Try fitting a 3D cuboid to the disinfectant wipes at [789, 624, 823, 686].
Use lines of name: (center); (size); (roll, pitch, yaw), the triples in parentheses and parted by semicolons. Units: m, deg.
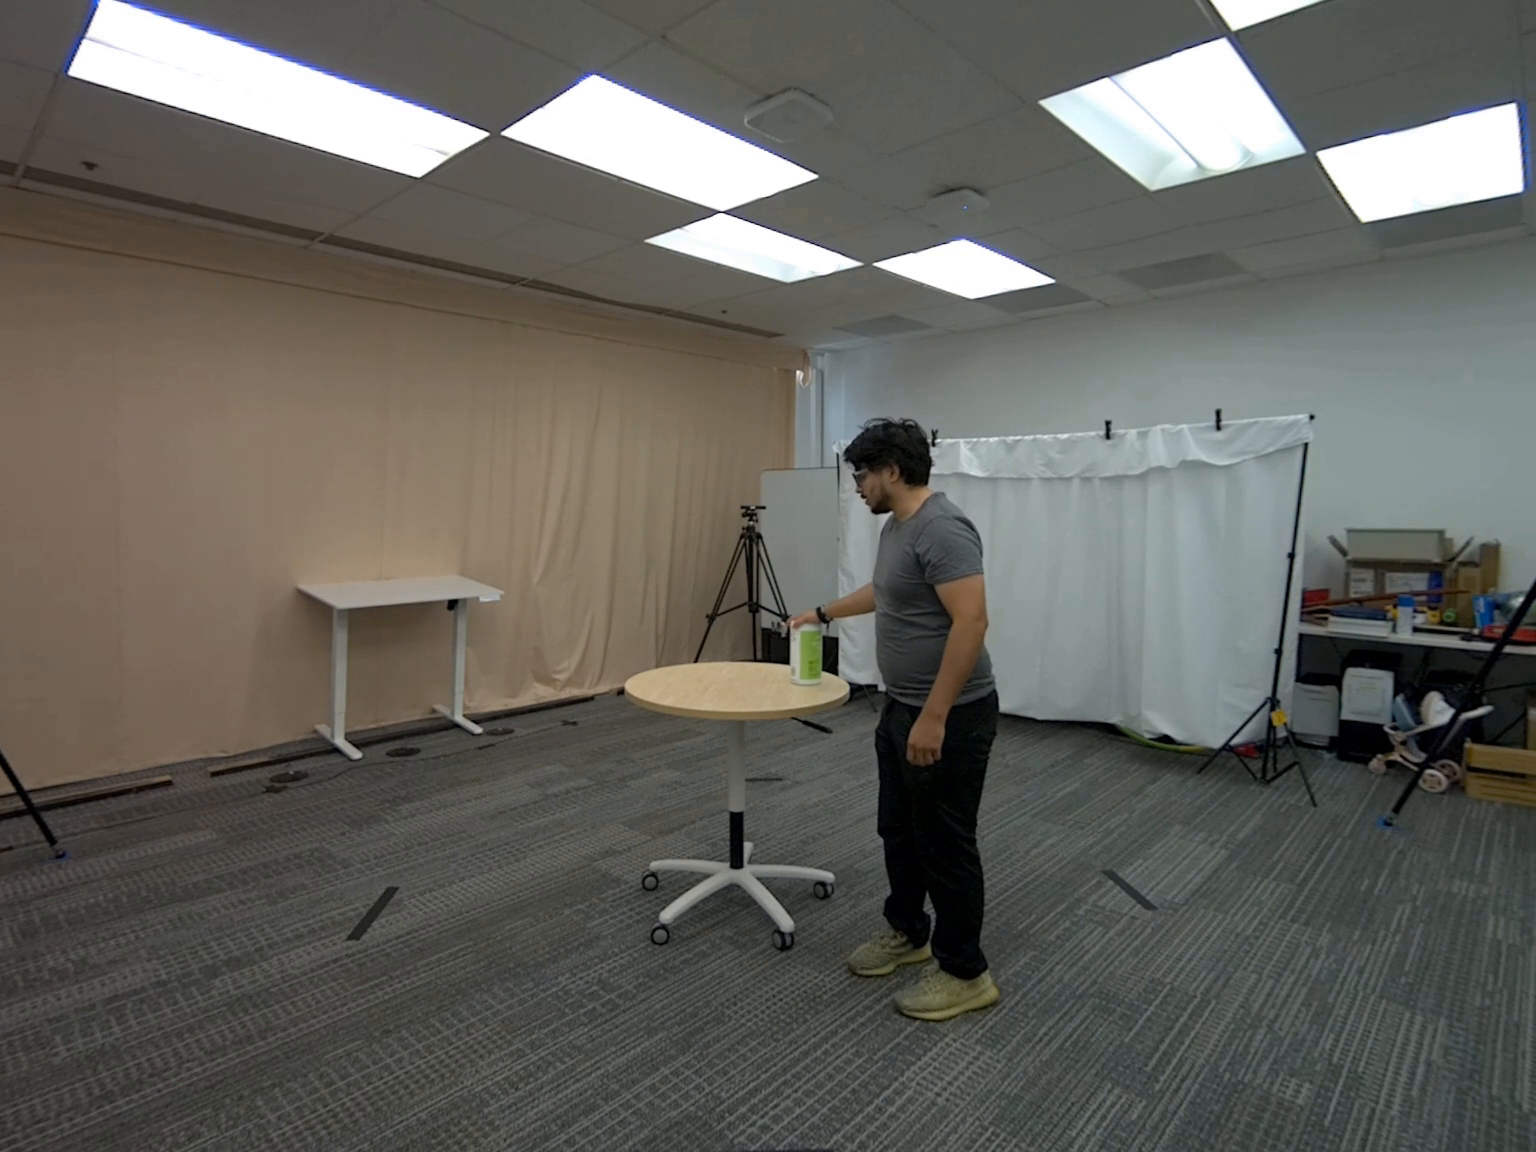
disinfectant wipes: (0.134, 0.263, 2.901); (0.117, 0.217, 0.118); (3, 3, -2)
